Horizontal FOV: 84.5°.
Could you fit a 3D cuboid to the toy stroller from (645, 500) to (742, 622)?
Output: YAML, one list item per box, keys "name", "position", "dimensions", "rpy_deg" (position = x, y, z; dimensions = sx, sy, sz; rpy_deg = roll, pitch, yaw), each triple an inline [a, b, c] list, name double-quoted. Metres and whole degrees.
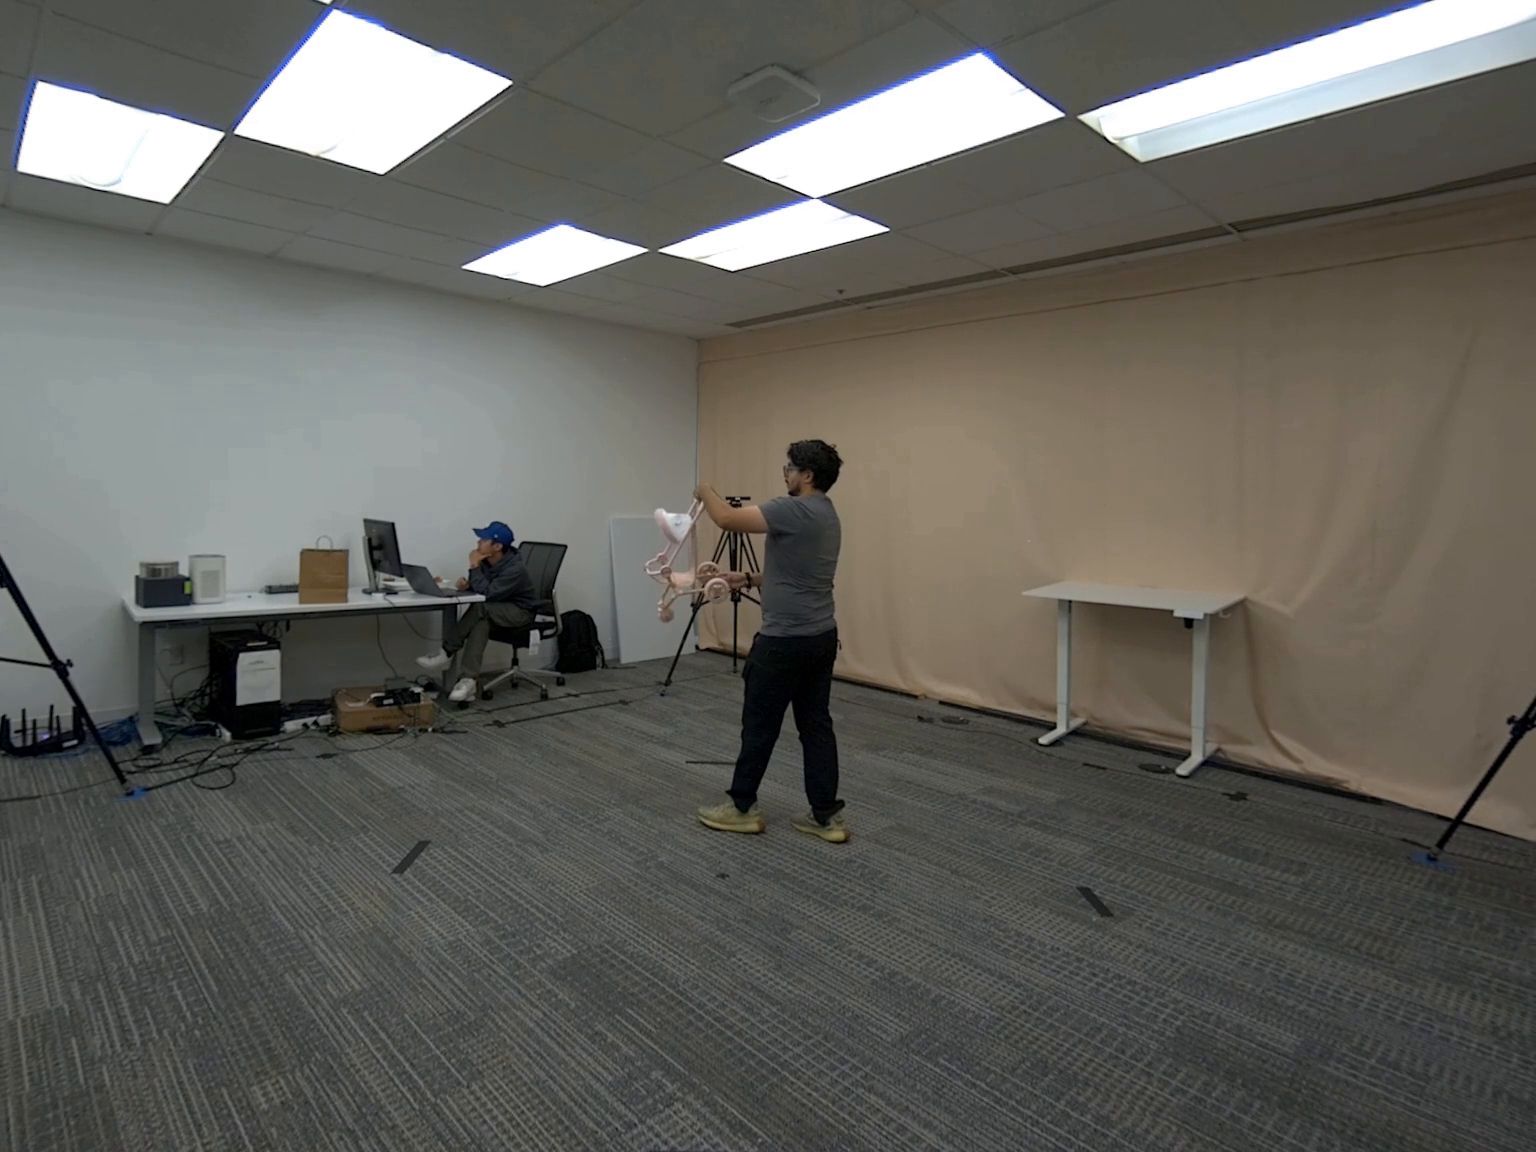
- name: "toy stroller"
  position: [-0.390, -0.079, 3.664]
  dimensions: [0.341, 0.527, 0.286]
  rpy_deg: [-14, 18, -2]
